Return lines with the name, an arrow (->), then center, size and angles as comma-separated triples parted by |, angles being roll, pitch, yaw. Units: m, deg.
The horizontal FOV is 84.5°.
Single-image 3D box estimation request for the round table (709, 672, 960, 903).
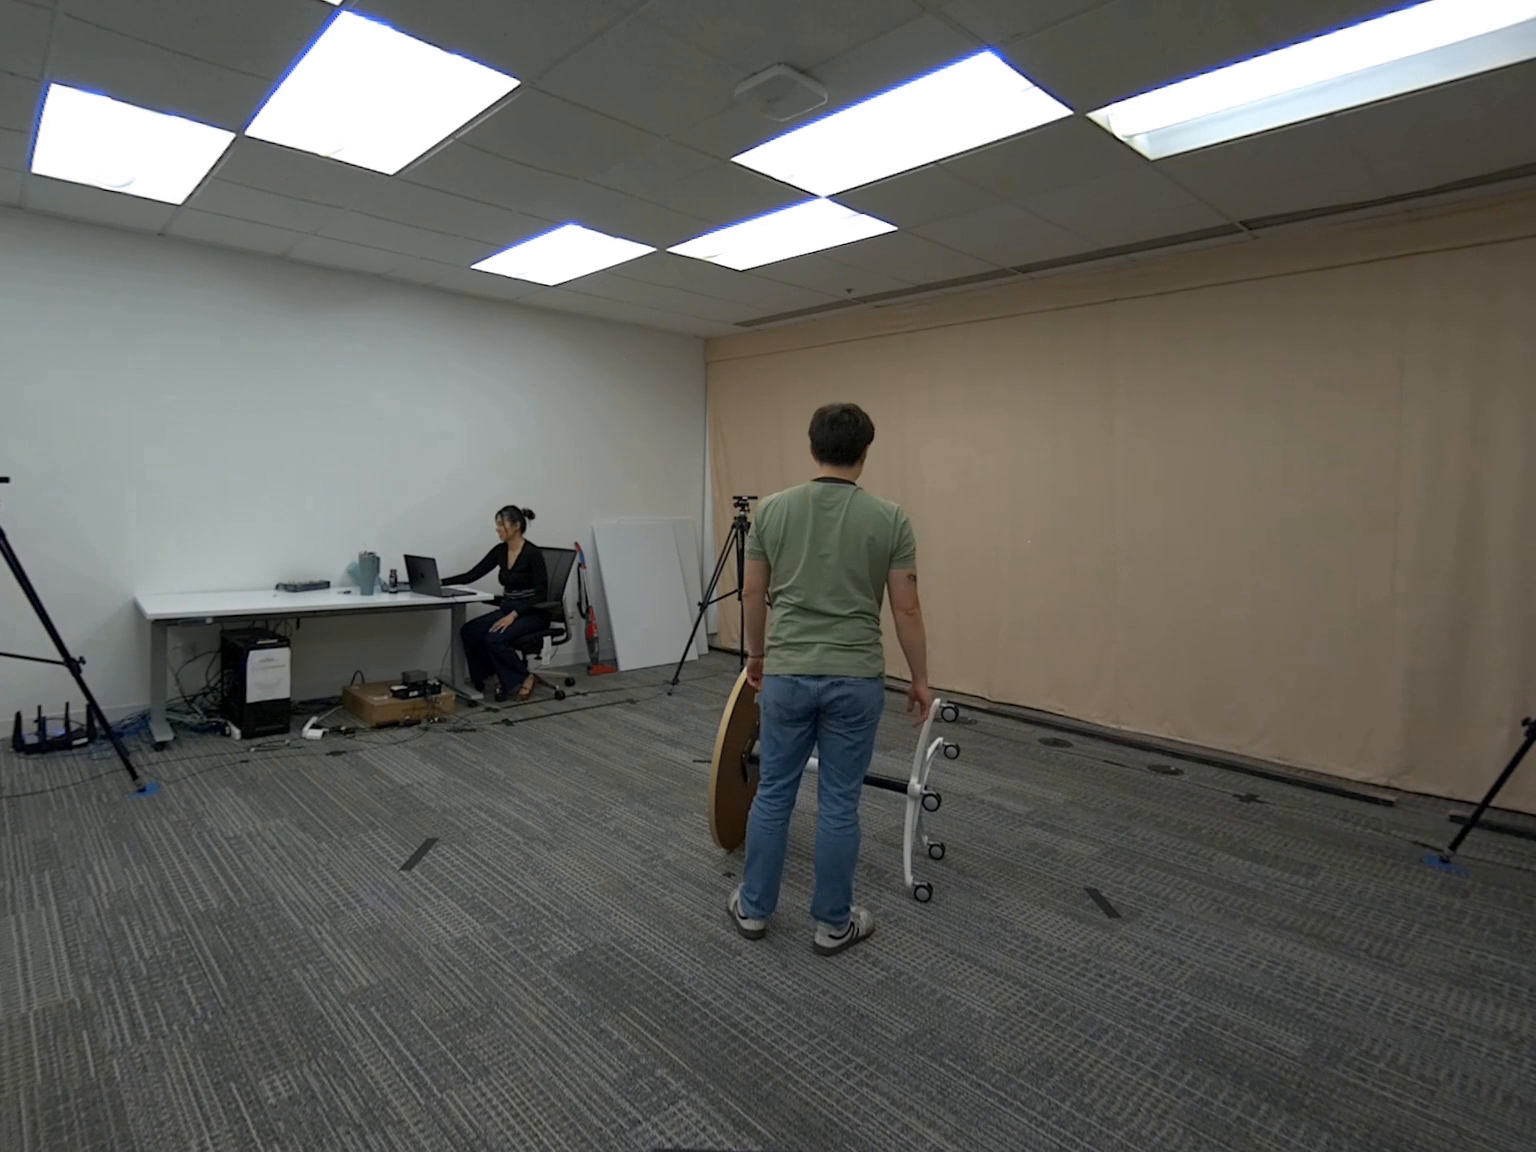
round table -> 0.279, 0.758, 3.237 | 0.807, 0.761, 0.754 | 8, 6, 18
